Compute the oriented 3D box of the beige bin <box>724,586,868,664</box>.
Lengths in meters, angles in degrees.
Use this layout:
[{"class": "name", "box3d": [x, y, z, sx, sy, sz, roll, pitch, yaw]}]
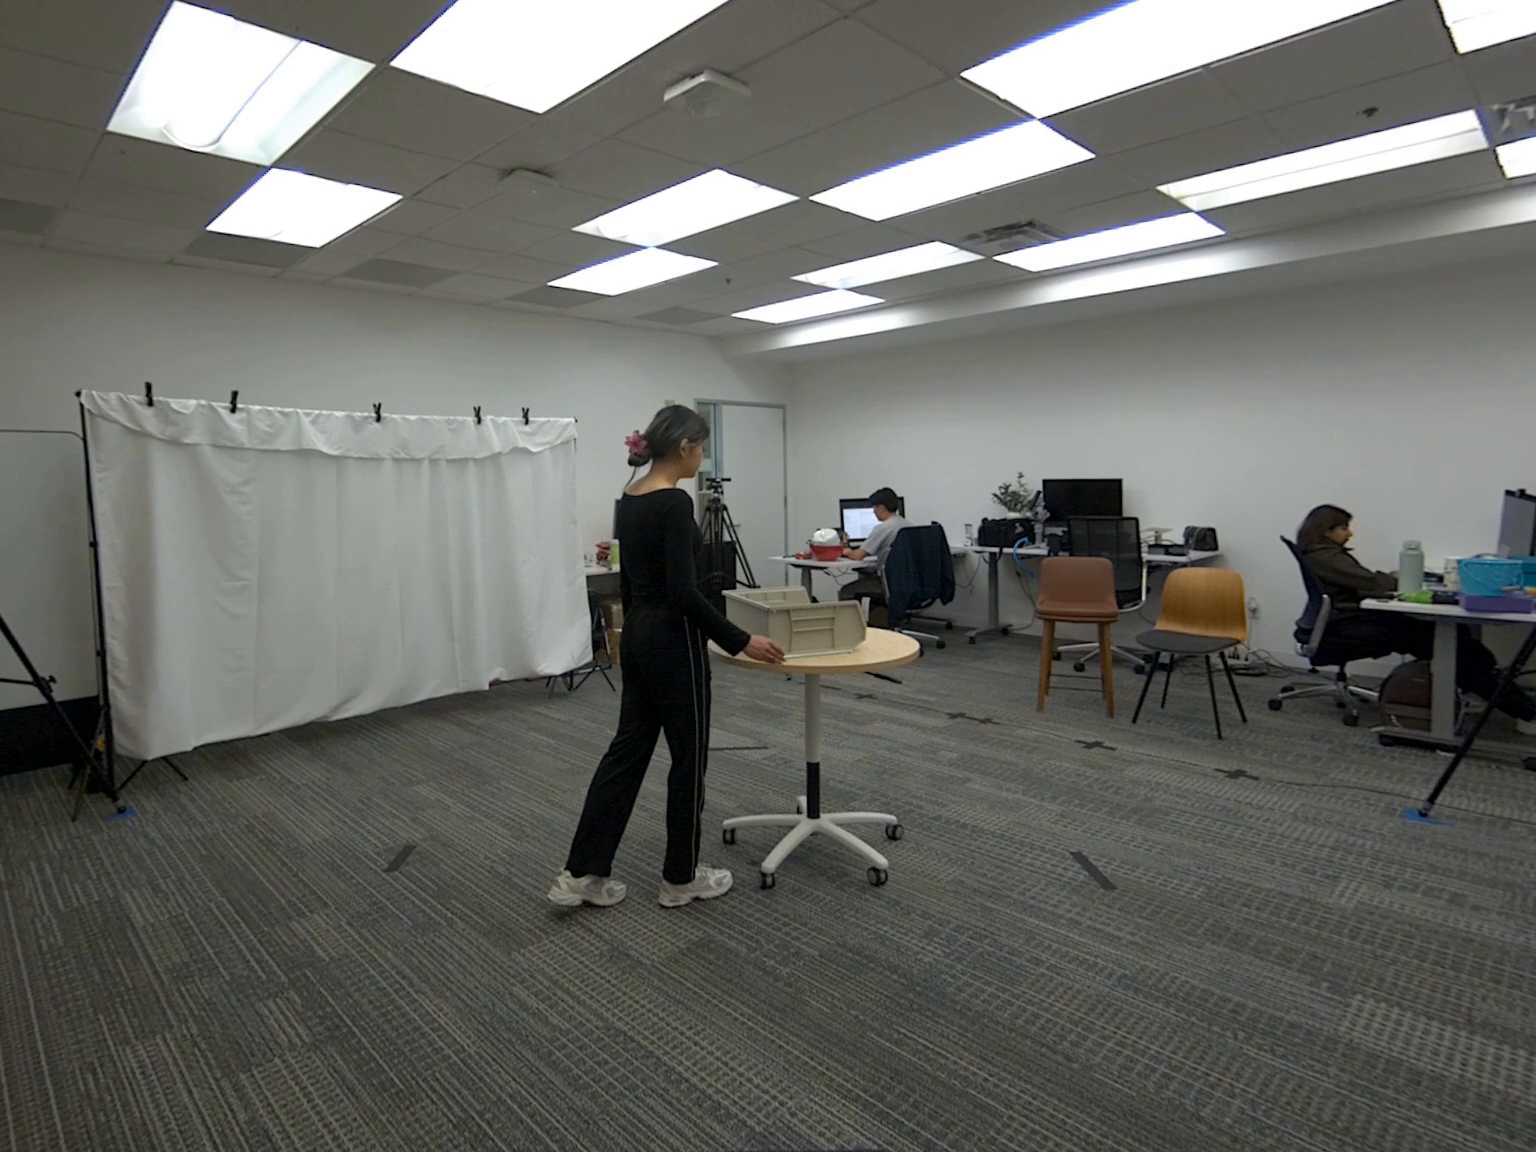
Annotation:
[{"class": "beige bin", "box3d": [0.087, 0.158, 3.079, 0.370, 0.188, 0.432, -4, 7, -22]}]
